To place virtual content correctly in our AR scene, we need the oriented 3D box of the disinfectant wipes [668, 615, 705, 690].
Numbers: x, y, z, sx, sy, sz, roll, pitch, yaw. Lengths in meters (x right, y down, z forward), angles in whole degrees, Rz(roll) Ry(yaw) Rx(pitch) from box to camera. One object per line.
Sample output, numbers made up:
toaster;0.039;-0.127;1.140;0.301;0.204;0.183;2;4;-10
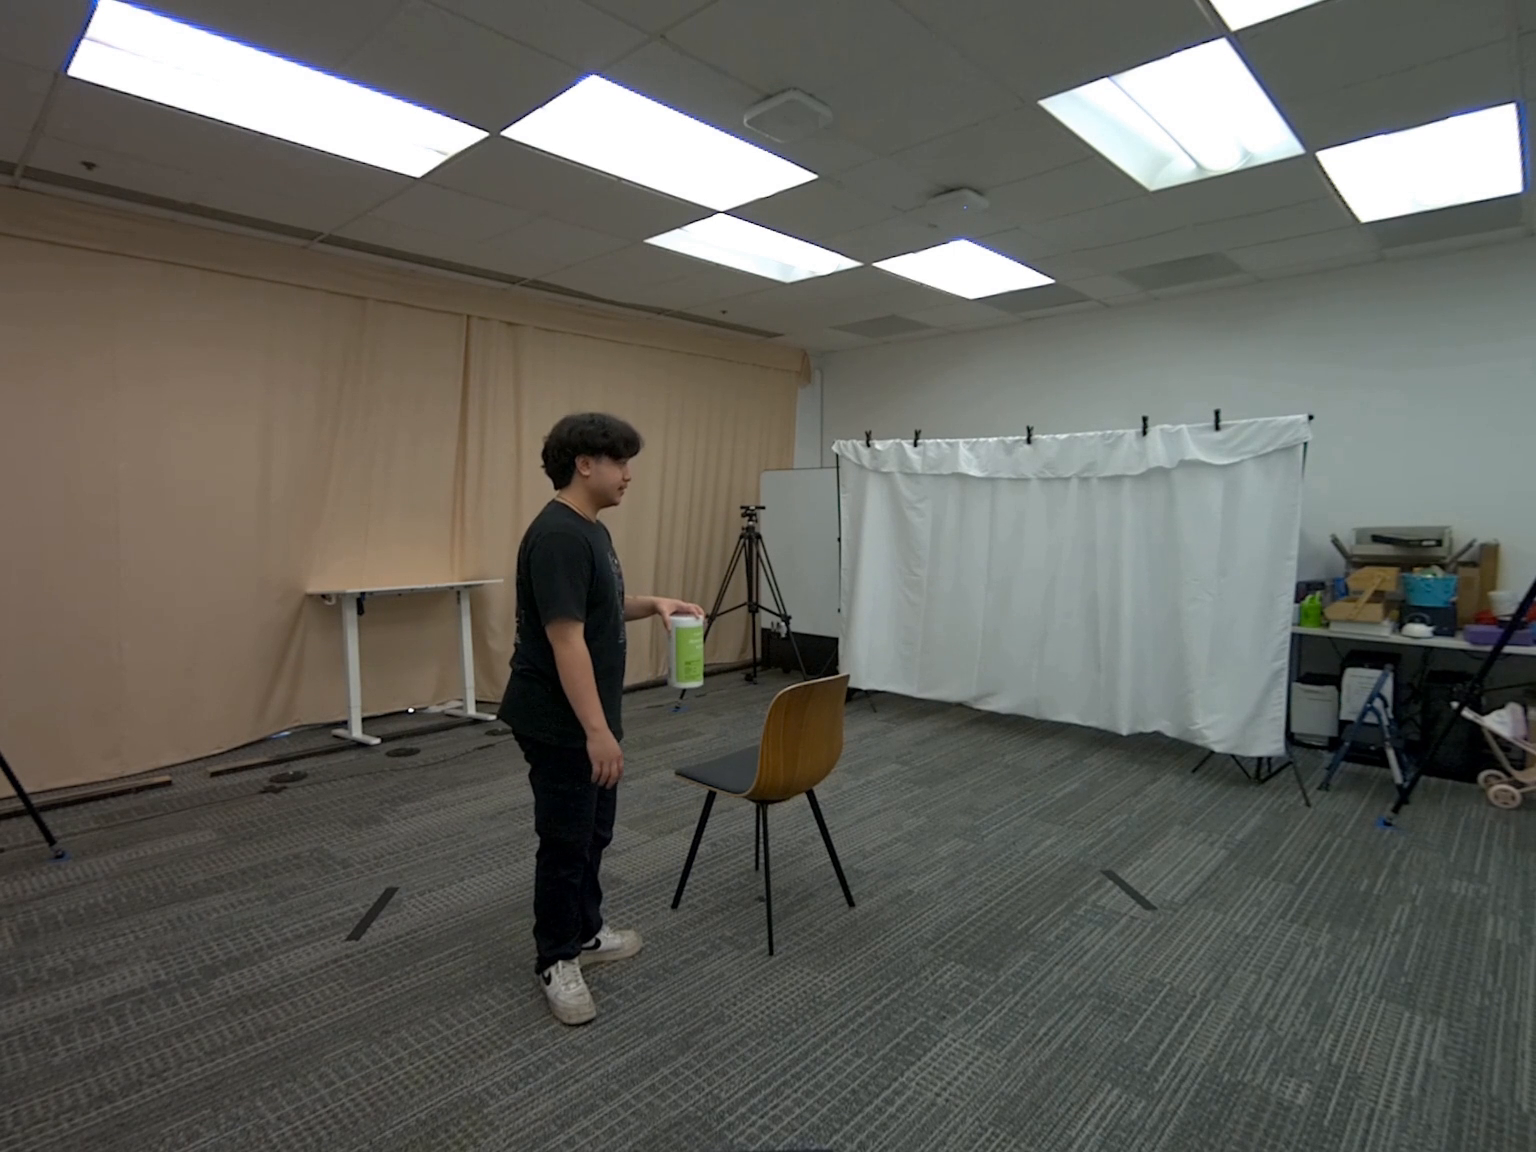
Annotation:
disinfectant wipes;-0.261;0.231;2.536;0.118;0.217;0.118;0;3;-2
